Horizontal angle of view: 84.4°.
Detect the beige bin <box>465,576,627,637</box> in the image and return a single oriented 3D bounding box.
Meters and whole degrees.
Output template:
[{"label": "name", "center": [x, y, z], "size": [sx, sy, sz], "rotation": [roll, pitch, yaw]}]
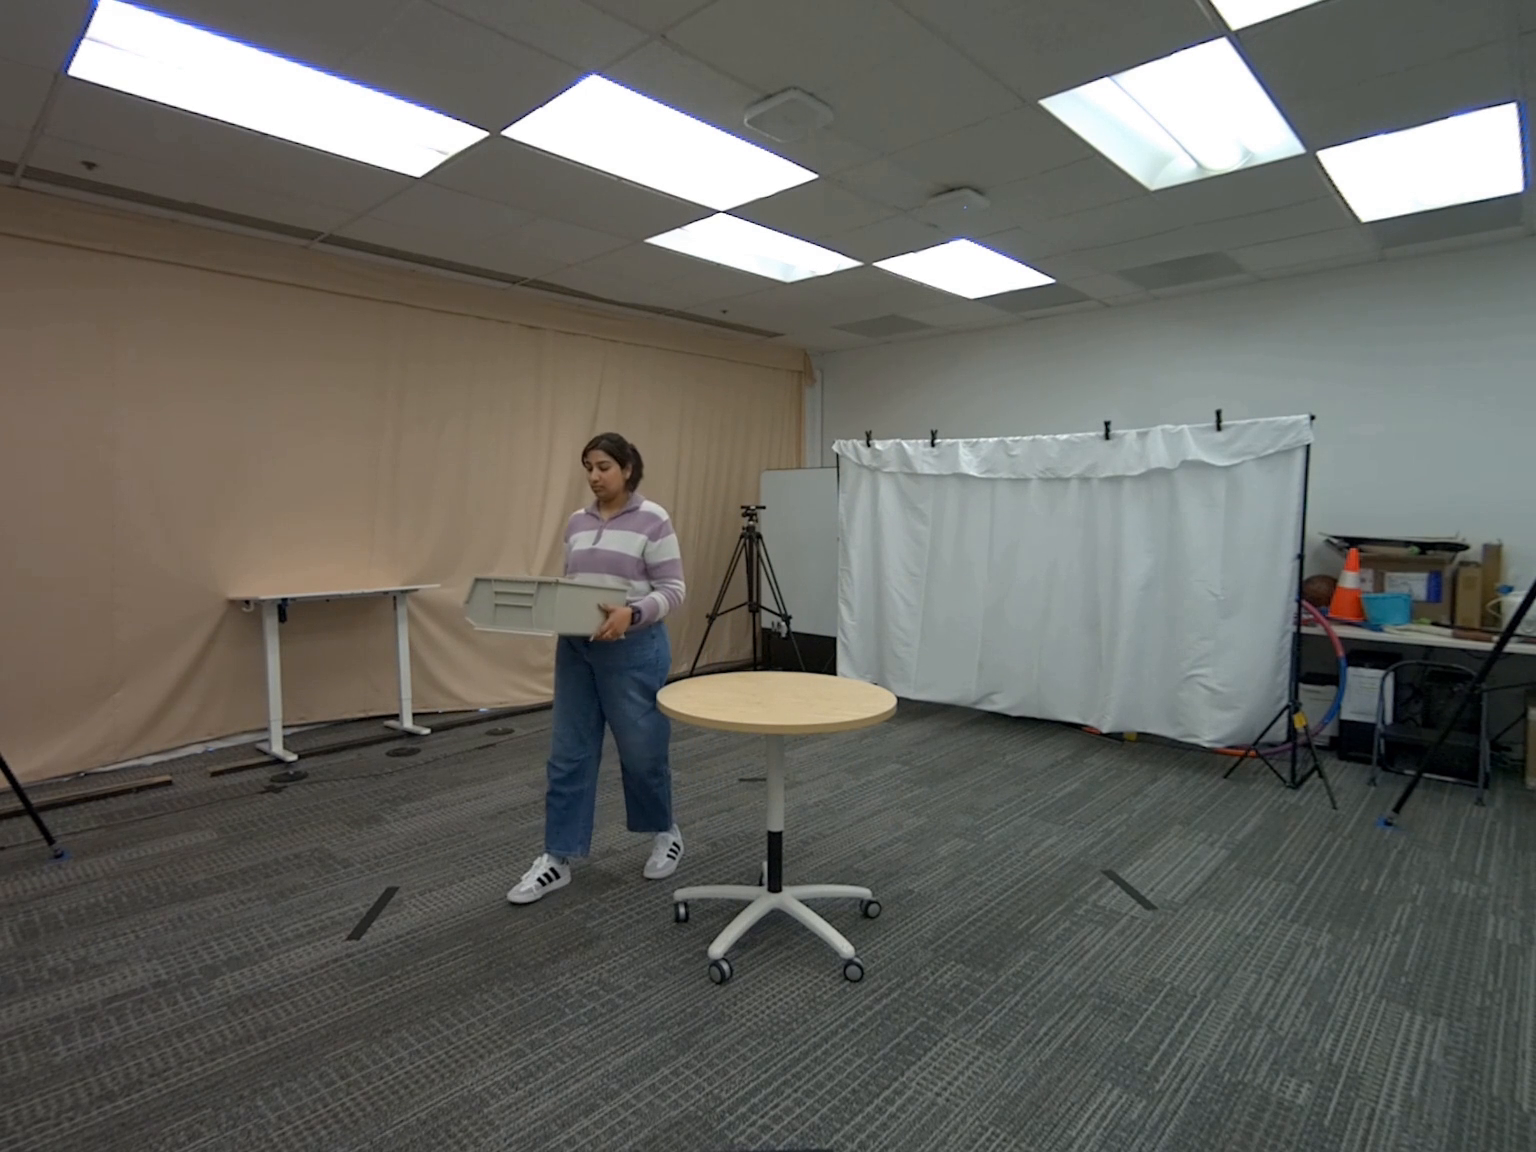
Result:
[{"label": "beige bin", "center": [-0.726, 0.101, 2.812], "size": [0.387, 0.189, 0.410], "rotation": [3, -4, 26]}]
